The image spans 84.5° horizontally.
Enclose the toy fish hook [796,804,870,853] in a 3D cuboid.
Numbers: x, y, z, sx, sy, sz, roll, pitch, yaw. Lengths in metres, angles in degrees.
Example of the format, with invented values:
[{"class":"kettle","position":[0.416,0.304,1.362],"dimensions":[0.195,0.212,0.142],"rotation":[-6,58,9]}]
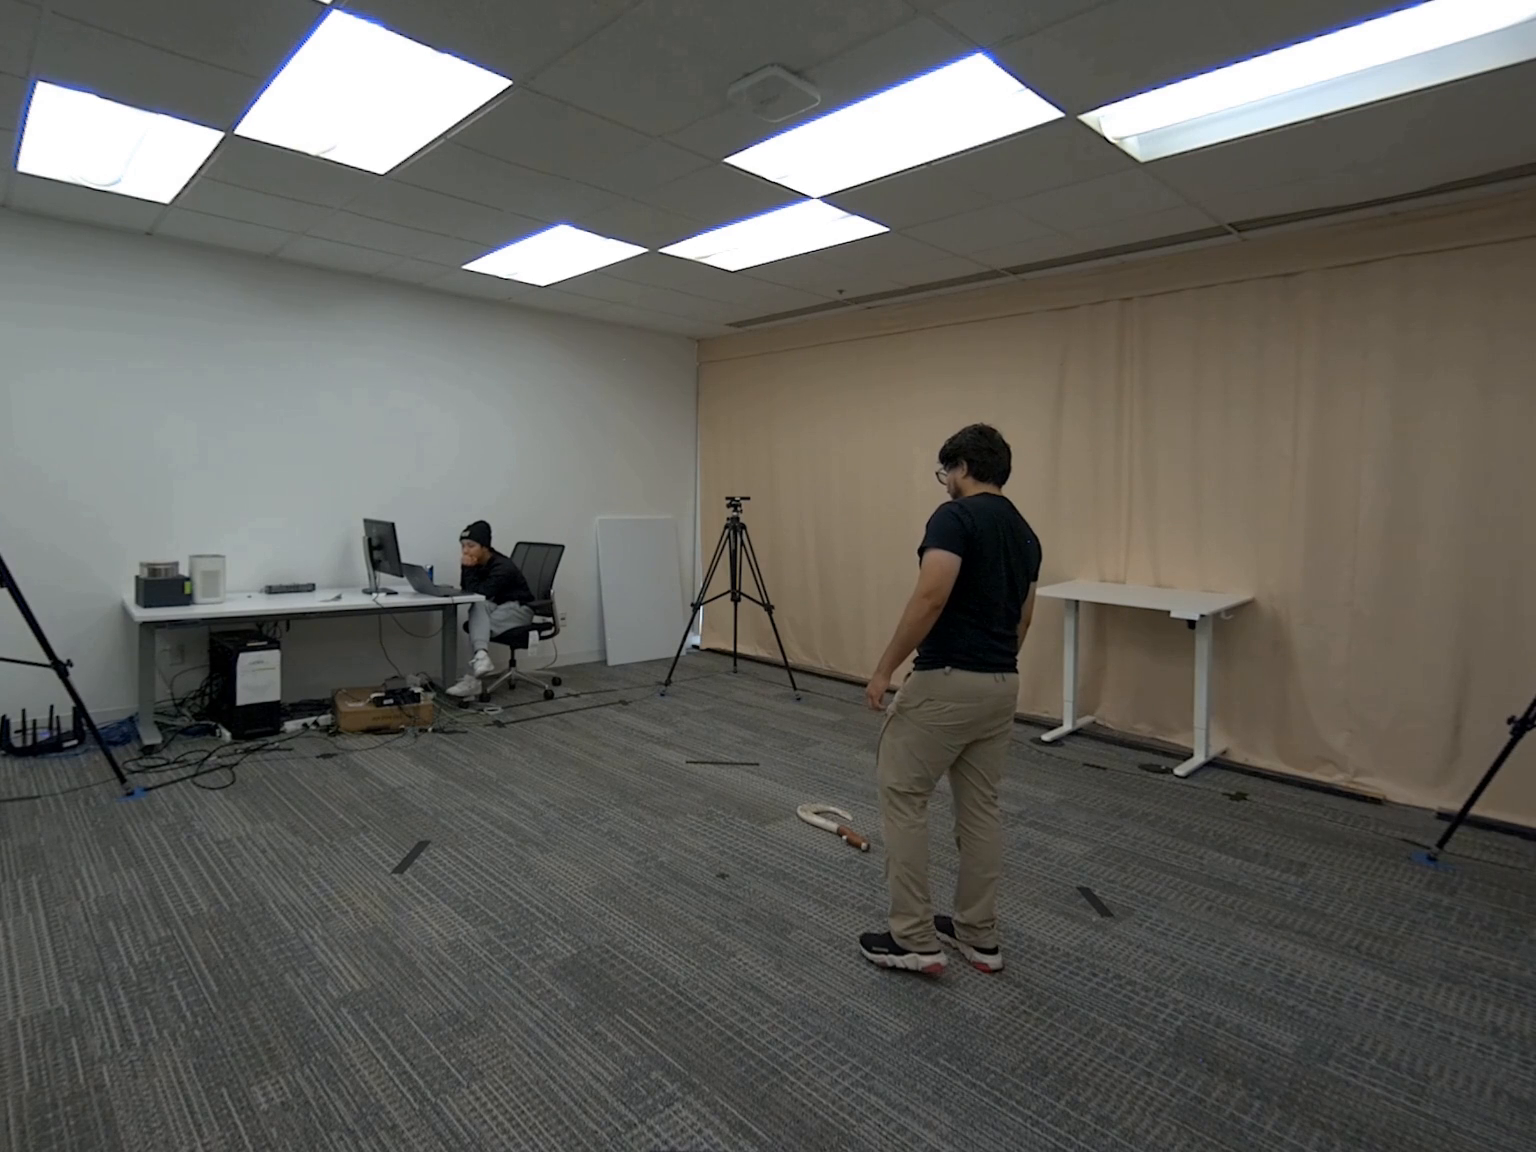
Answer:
[{"class":"toy fish hook","position":[0.306,1.057,3.584],"dimensions":[0.220,0.048,0.518],"rotation":[-2,6,-28]}]
